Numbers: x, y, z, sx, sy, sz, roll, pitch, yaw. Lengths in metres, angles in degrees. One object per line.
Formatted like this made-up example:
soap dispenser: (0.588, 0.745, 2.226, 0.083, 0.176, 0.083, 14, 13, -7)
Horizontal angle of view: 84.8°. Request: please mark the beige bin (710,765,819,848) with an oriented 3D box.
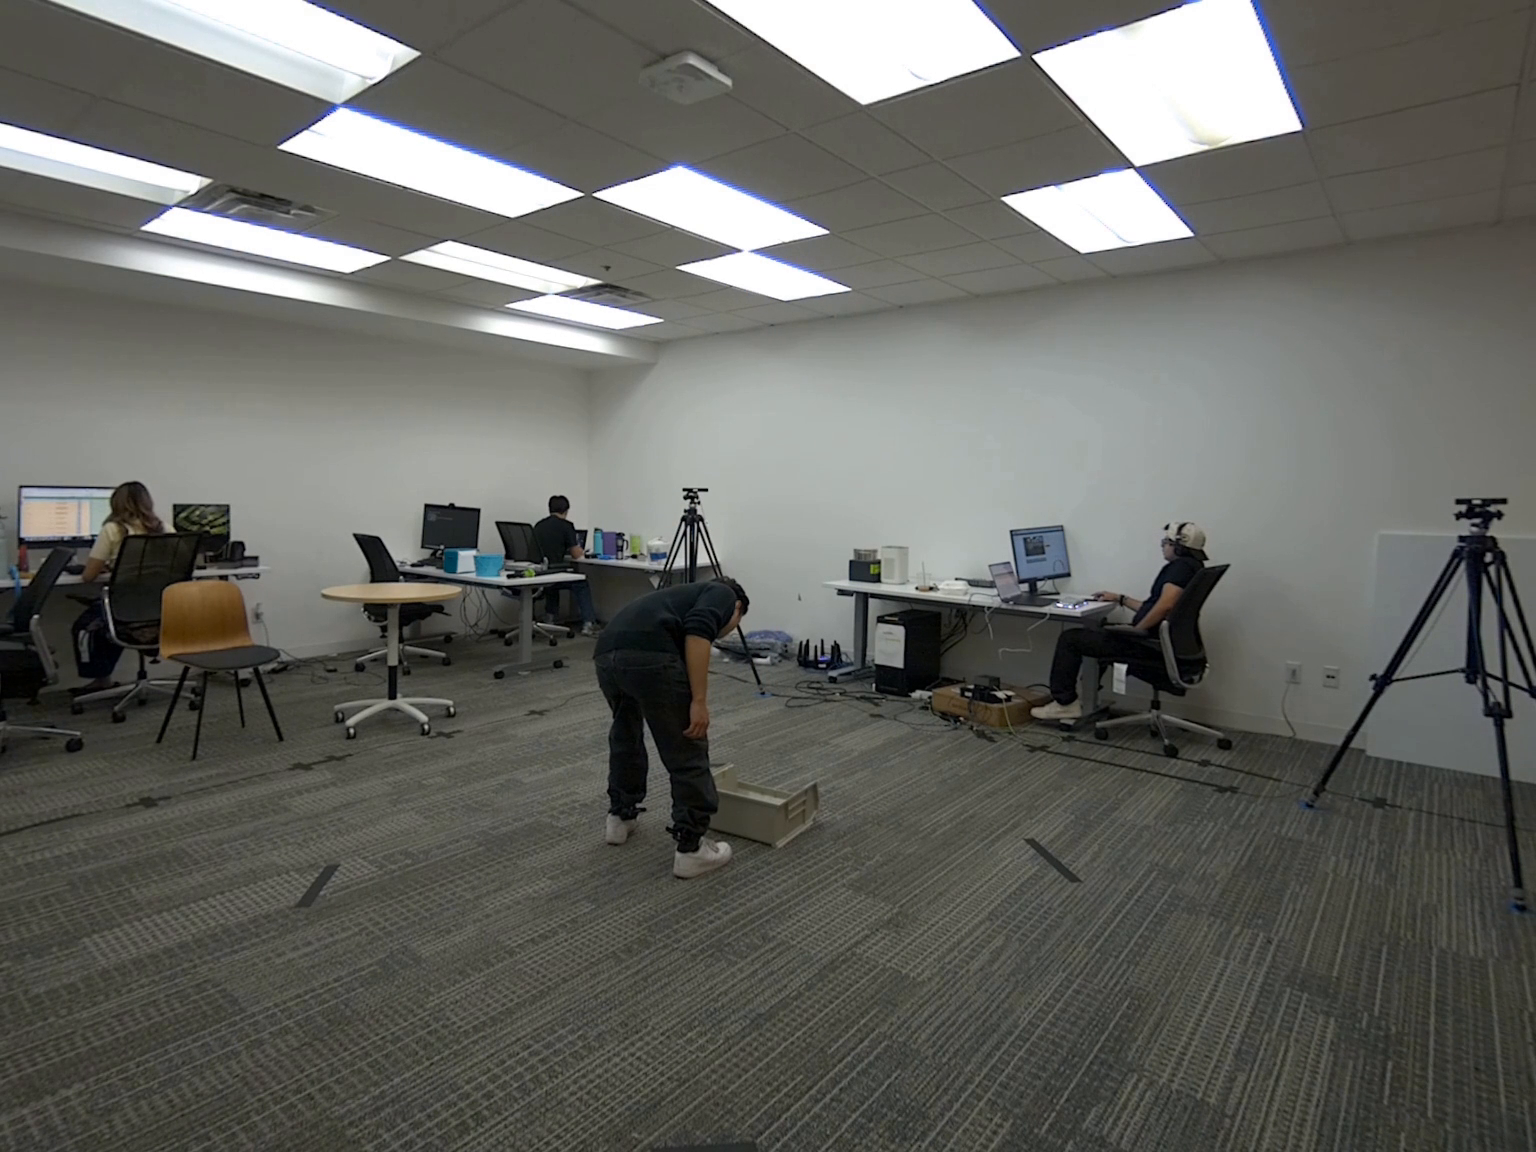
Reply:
beige bin: (-0.058, 0.943, 3.556, 0.435, 0.188, 0.368, 4, 7, 30)
